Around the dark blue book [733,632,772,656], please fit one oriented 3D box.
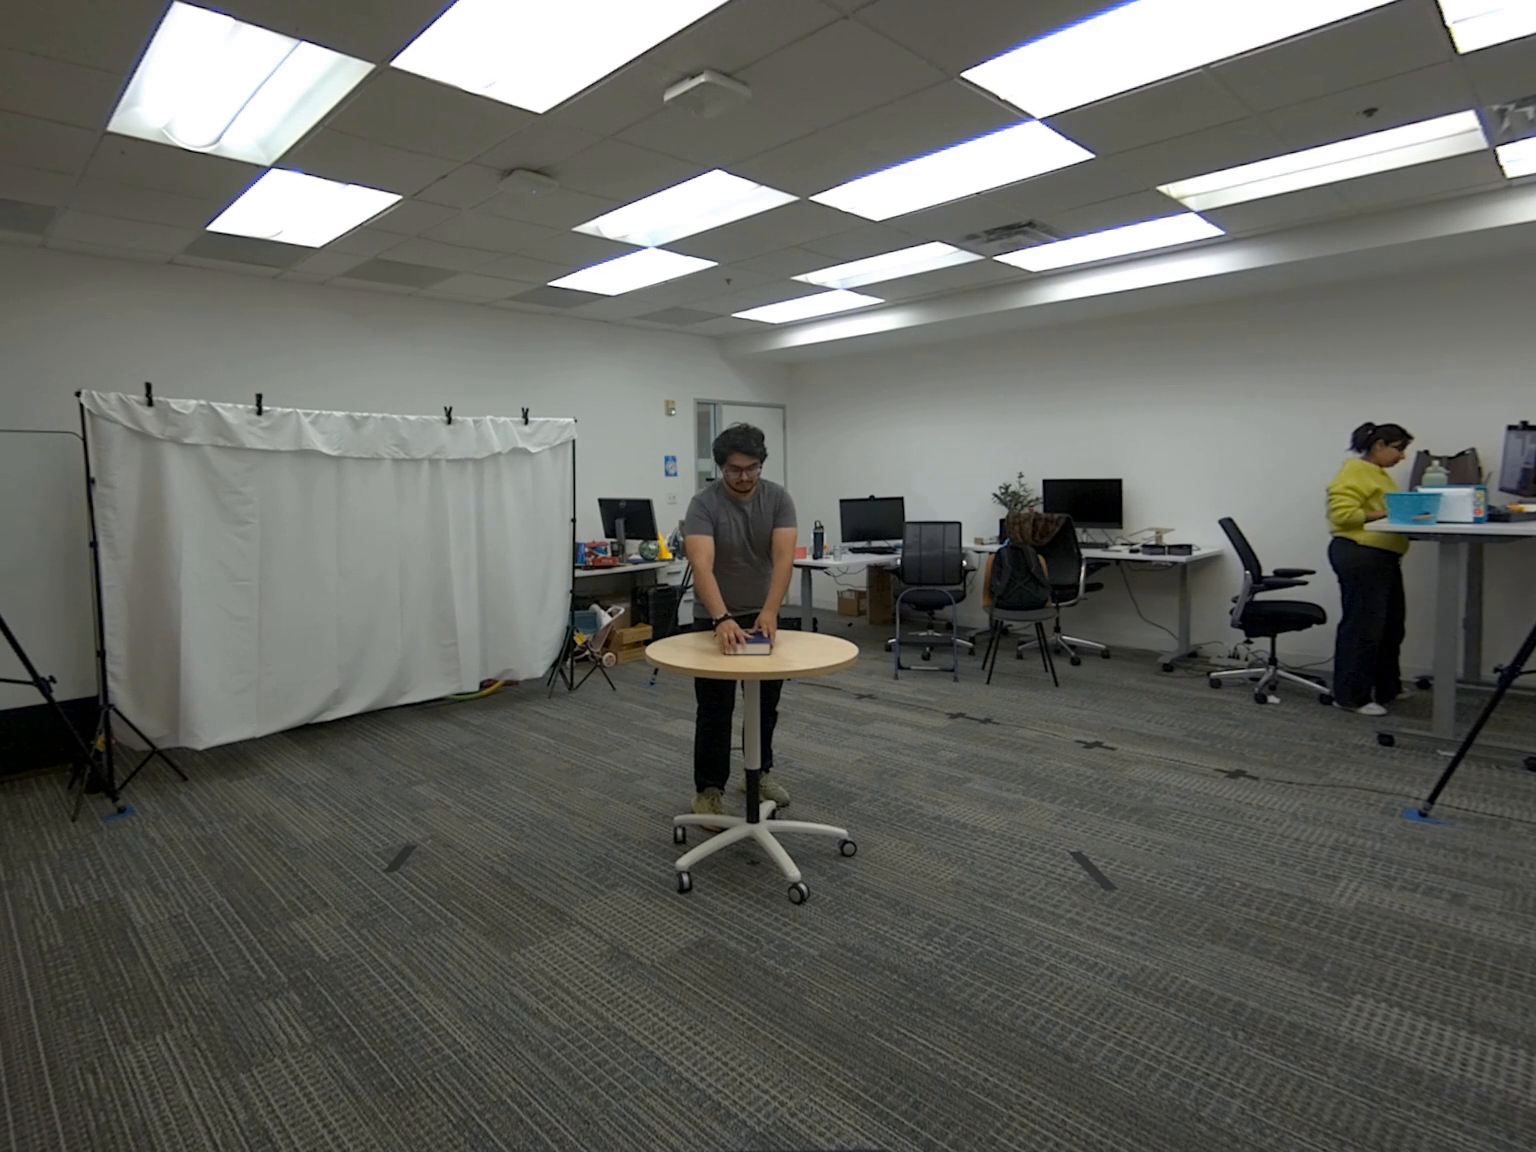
[{"bbox_3d":[-0.066,0.244,3.088,0.164,0.045,0.246,0,7,1],"label":"dark blue book"}]
